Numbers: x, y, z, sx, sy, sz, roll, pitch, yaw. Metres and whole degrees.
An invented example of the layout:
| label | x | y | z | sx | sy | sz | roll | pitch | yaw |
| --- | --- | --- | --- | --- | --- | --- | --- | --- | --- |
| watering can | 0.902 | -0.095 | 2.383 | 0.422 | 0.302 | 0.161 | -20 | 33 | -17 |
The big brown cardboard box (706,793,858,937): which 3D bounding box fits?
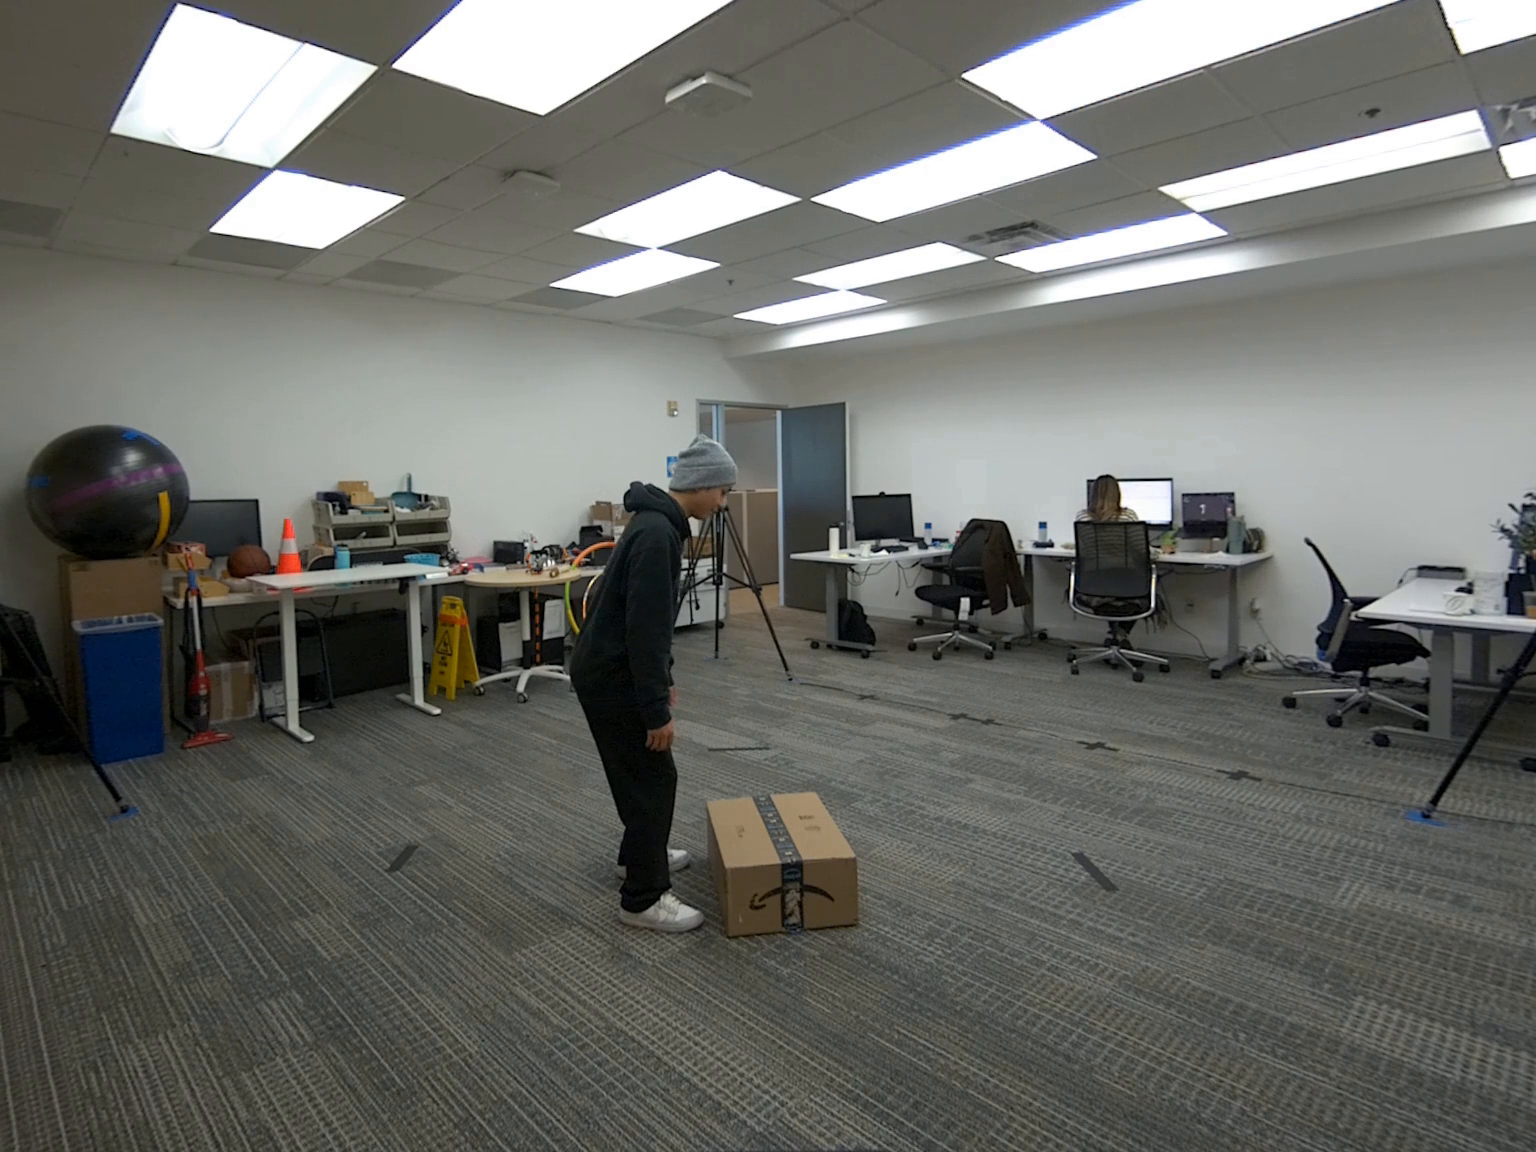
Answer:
| label | x | y | z | sx | sy | sz | roll | pitch | yaw |
| --- | --- | --- | --- | --- | --- | --- | --- | --- | --- |
| big brown cardboard box | 0.029 | 0.955 | 2.899 | 0.414 | 0.232 | 0.597 | -2 | 7 | -9 |
